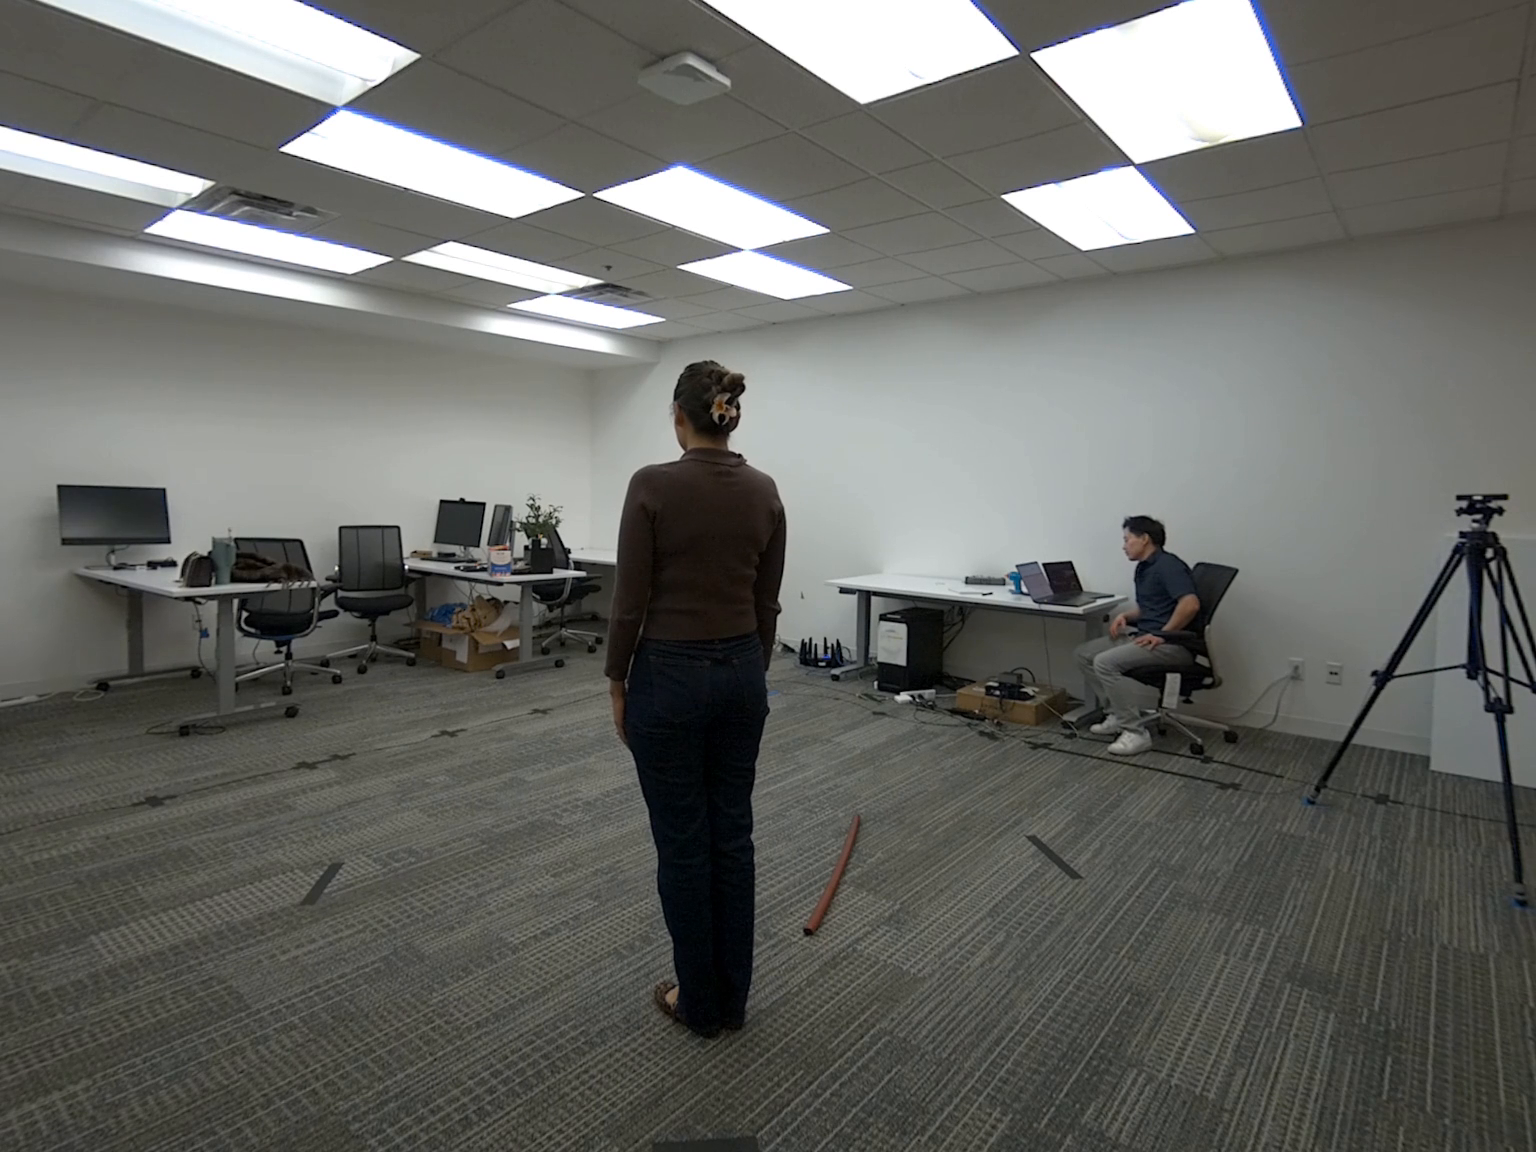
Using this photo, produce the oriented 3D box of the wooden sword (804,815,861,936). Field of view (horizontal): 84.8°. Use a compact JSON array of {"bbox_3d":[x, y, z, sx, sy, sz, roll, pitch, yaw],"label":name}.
[{"bbox_3d":[0.250,1.045,3.131,0.052,0.024,1.010,5,6,14],"label":"wooden sword"}]
